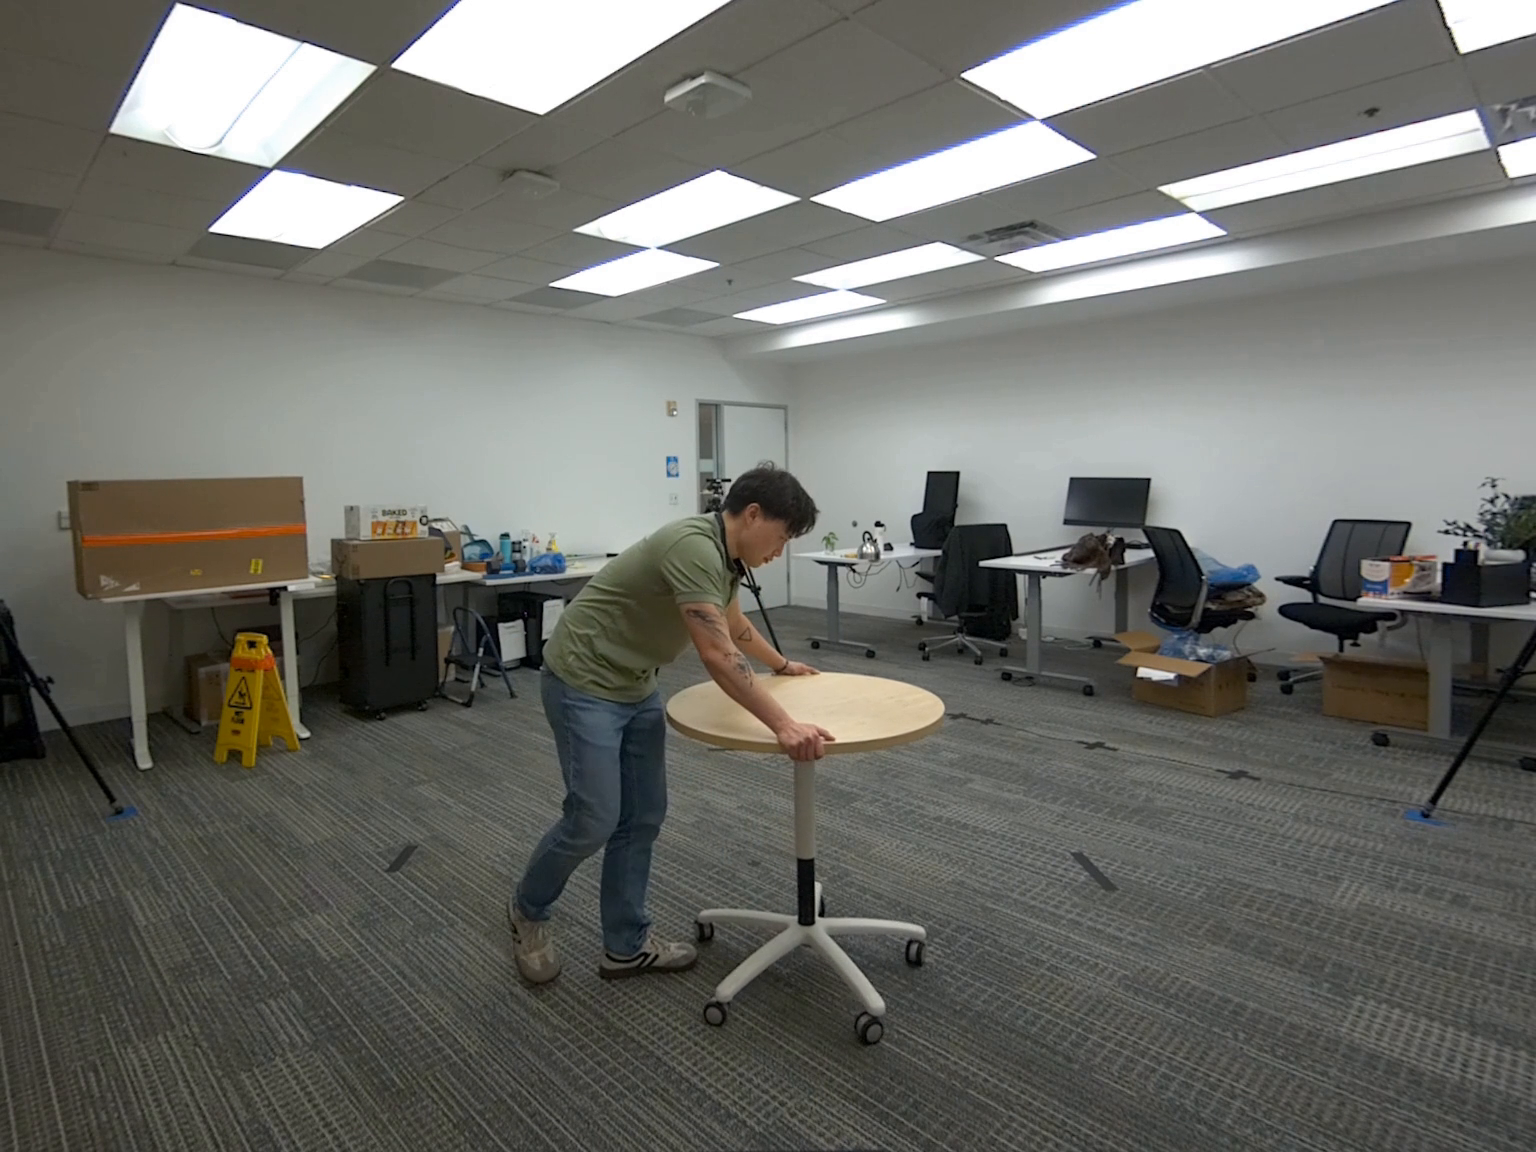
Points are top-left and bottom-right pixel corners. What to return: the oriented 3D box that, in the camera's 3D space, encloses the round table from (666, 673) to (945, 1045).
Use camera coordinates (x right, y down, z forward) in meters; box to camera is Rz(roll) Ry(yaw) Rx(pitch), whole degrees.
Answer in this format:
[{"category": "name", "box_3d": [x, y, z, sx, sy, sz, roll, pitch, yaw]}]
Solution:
[{"category": "round table", "box_3d": [0.108, 0.737, 2.406, 0.763, 0.791, 0.768, -2, 5, -2]}]
